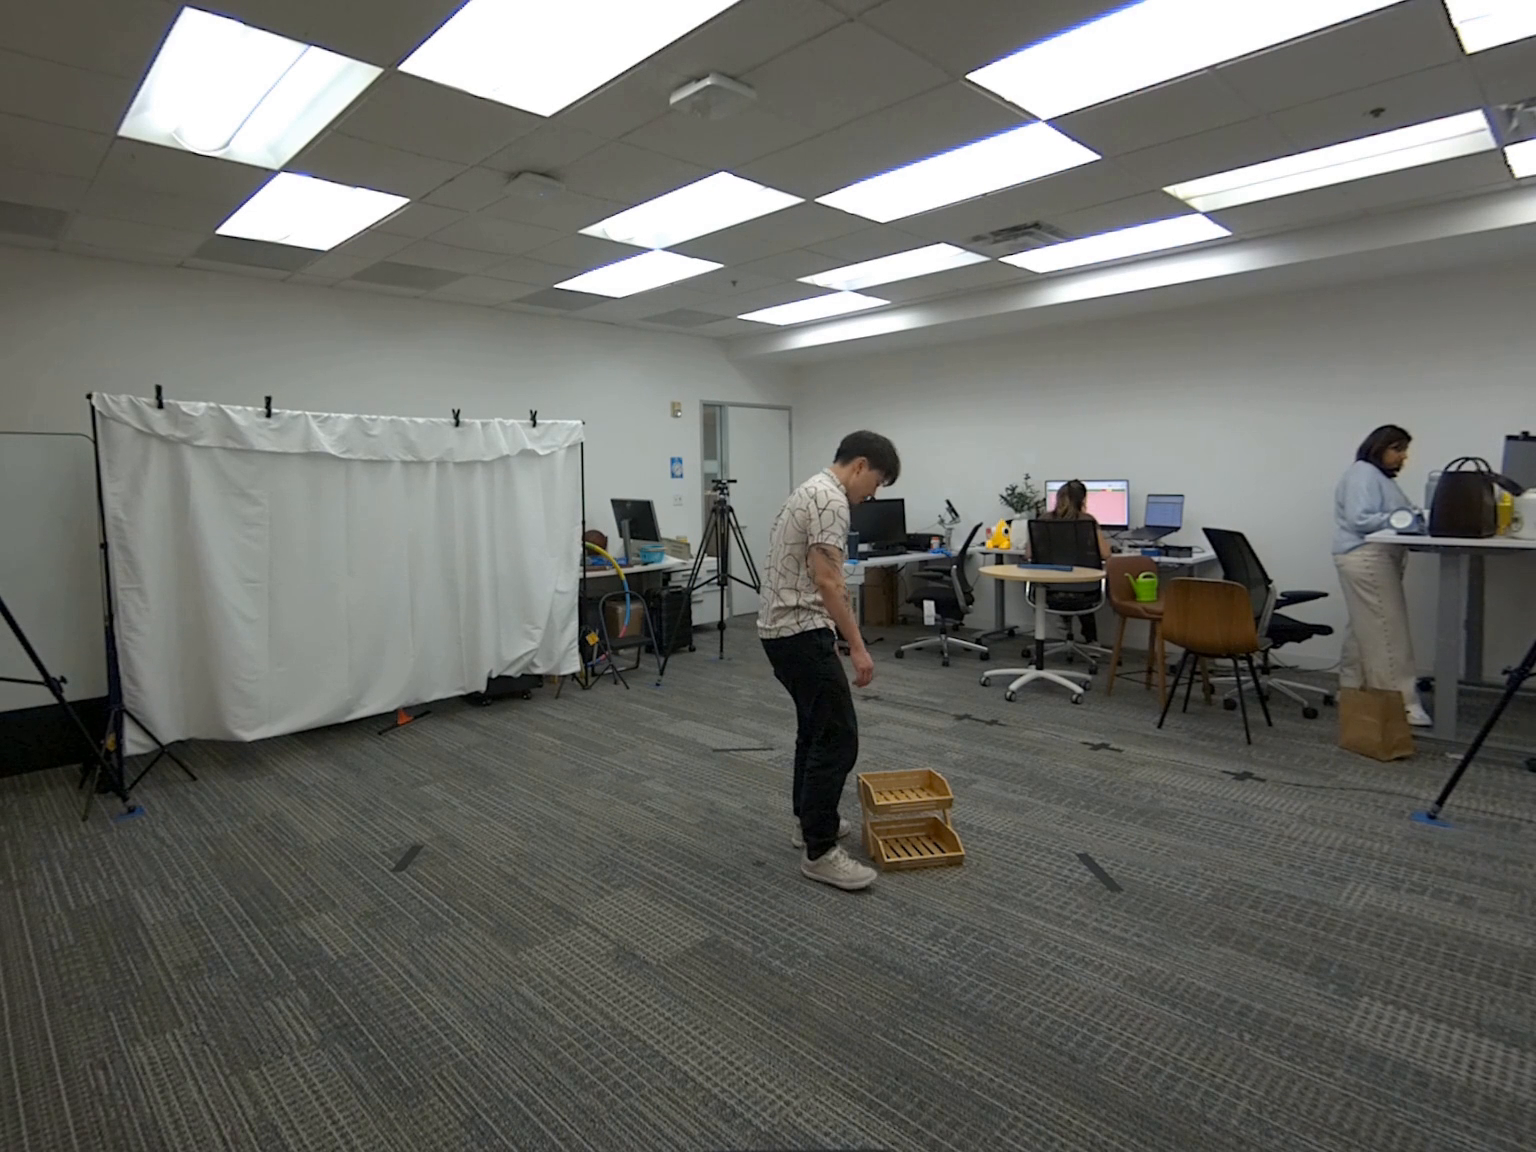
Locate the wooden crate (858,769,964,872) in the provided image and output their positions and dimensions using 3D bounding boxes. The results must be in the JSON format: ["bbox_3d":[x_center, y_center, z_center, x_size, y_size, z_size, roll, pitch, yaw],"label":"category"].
[{"bbox_3d":[0.530,0.897,3.164,0.321,0.272,0.306,-2,4,-11],"label":"wooden crate"}]
